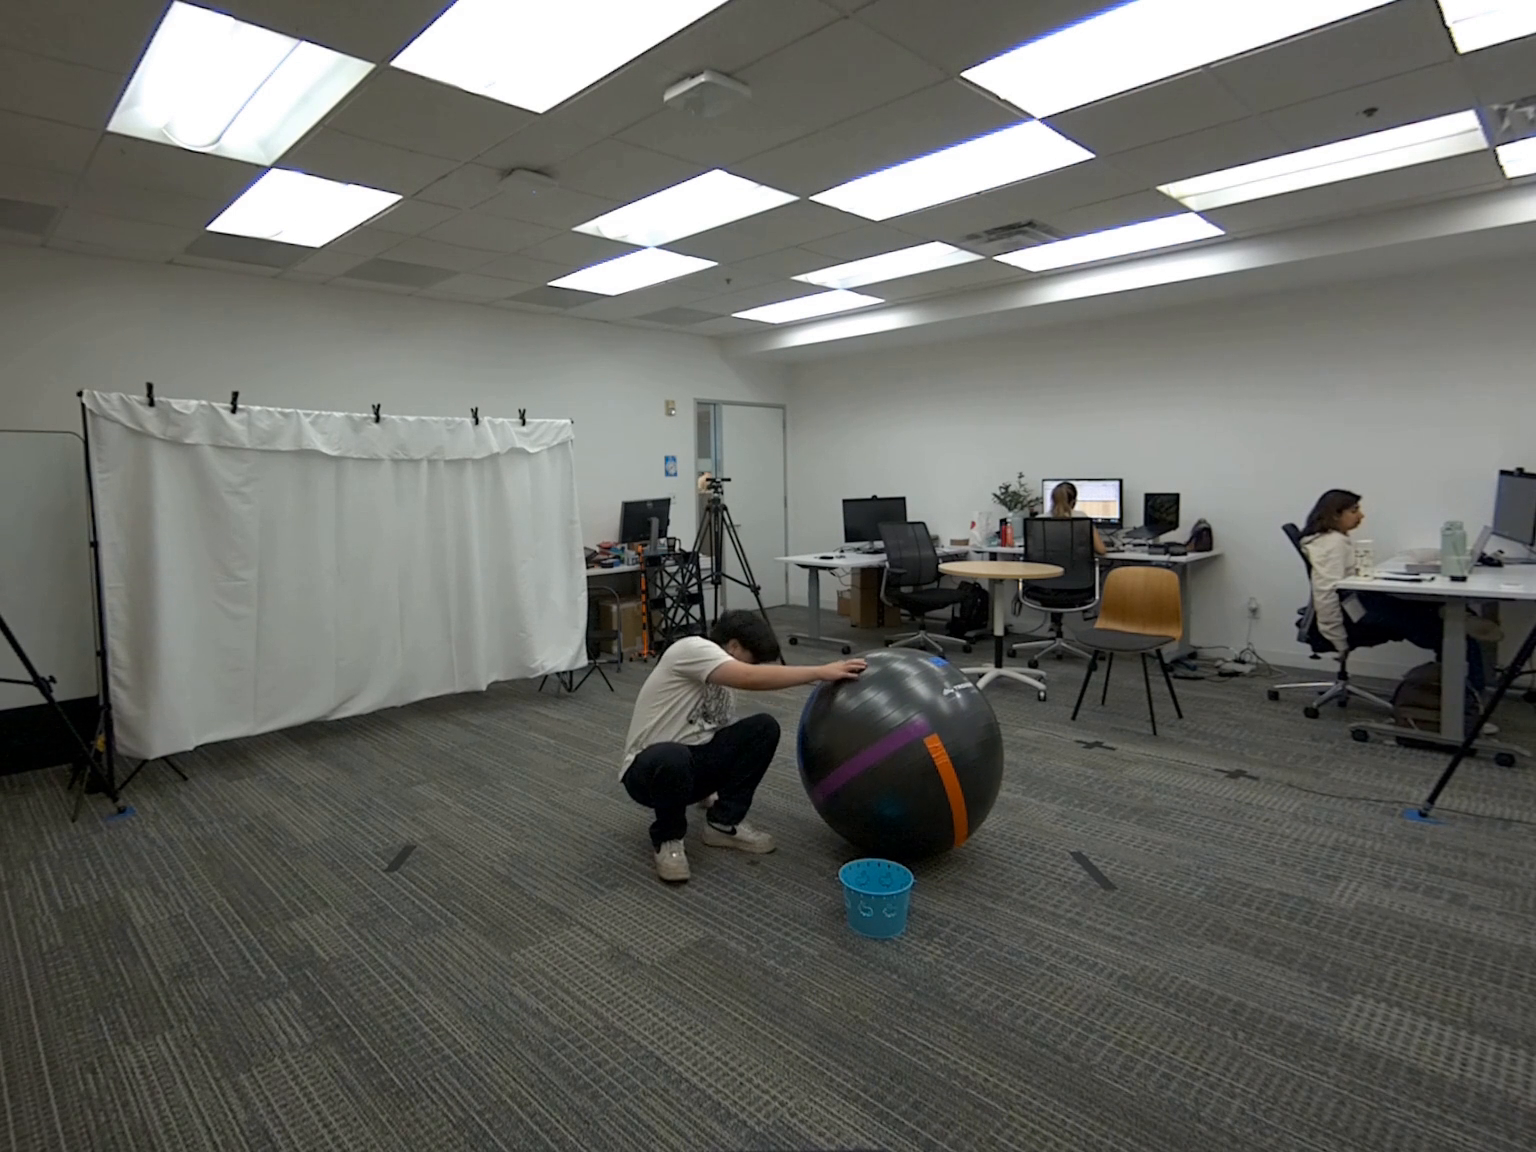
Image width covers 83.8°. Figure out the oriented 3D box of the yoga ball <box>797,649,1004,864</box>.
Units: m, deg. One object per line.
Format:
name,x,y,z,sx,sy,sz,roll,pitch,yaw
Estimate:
yoga ball,0.482,0.651,3.182,0.757,0.755,0.762,-1,5,-2
